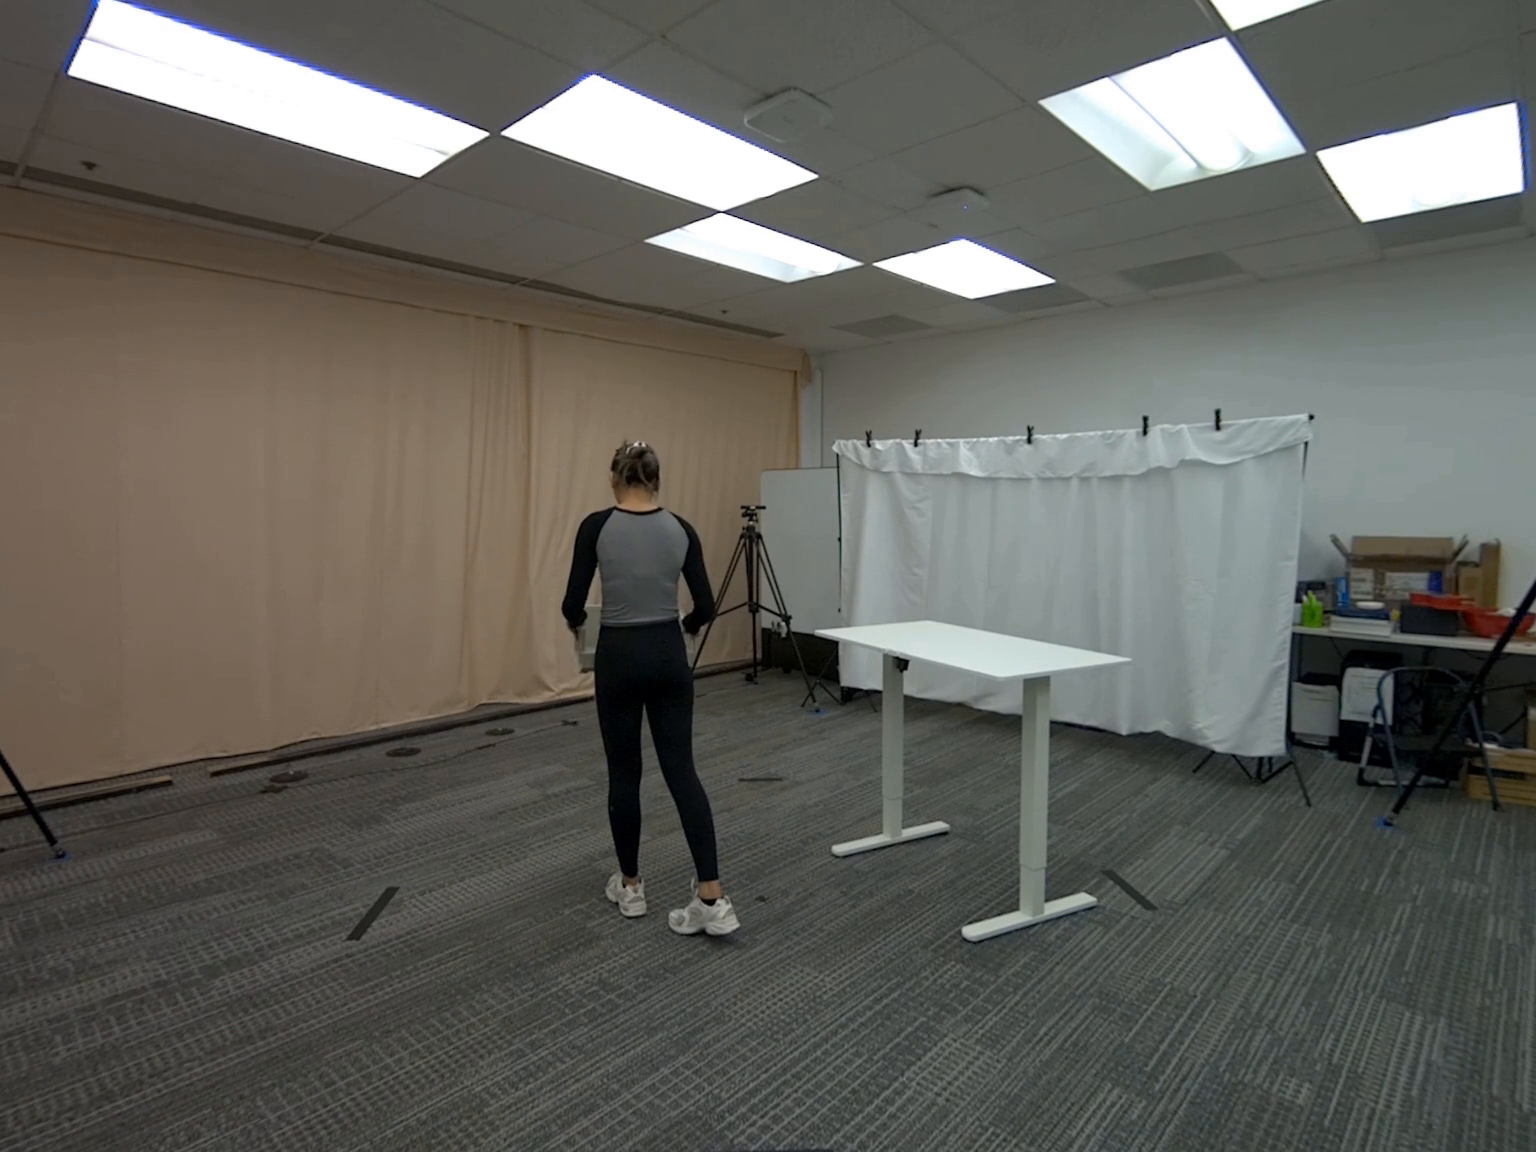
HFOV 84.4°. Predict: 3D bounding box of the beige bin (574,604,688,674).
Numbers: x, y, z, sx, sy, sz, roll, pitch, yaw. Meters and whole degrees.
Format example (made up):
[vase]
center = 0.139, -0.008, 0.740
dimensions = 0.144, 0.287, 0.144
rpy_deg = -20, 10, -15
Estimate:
[beige bin]
center = -0.517, 0.240, 3.182
dimensions = 0.415, 0.188, 0.386
rpy_deg = 0, 9, -17
